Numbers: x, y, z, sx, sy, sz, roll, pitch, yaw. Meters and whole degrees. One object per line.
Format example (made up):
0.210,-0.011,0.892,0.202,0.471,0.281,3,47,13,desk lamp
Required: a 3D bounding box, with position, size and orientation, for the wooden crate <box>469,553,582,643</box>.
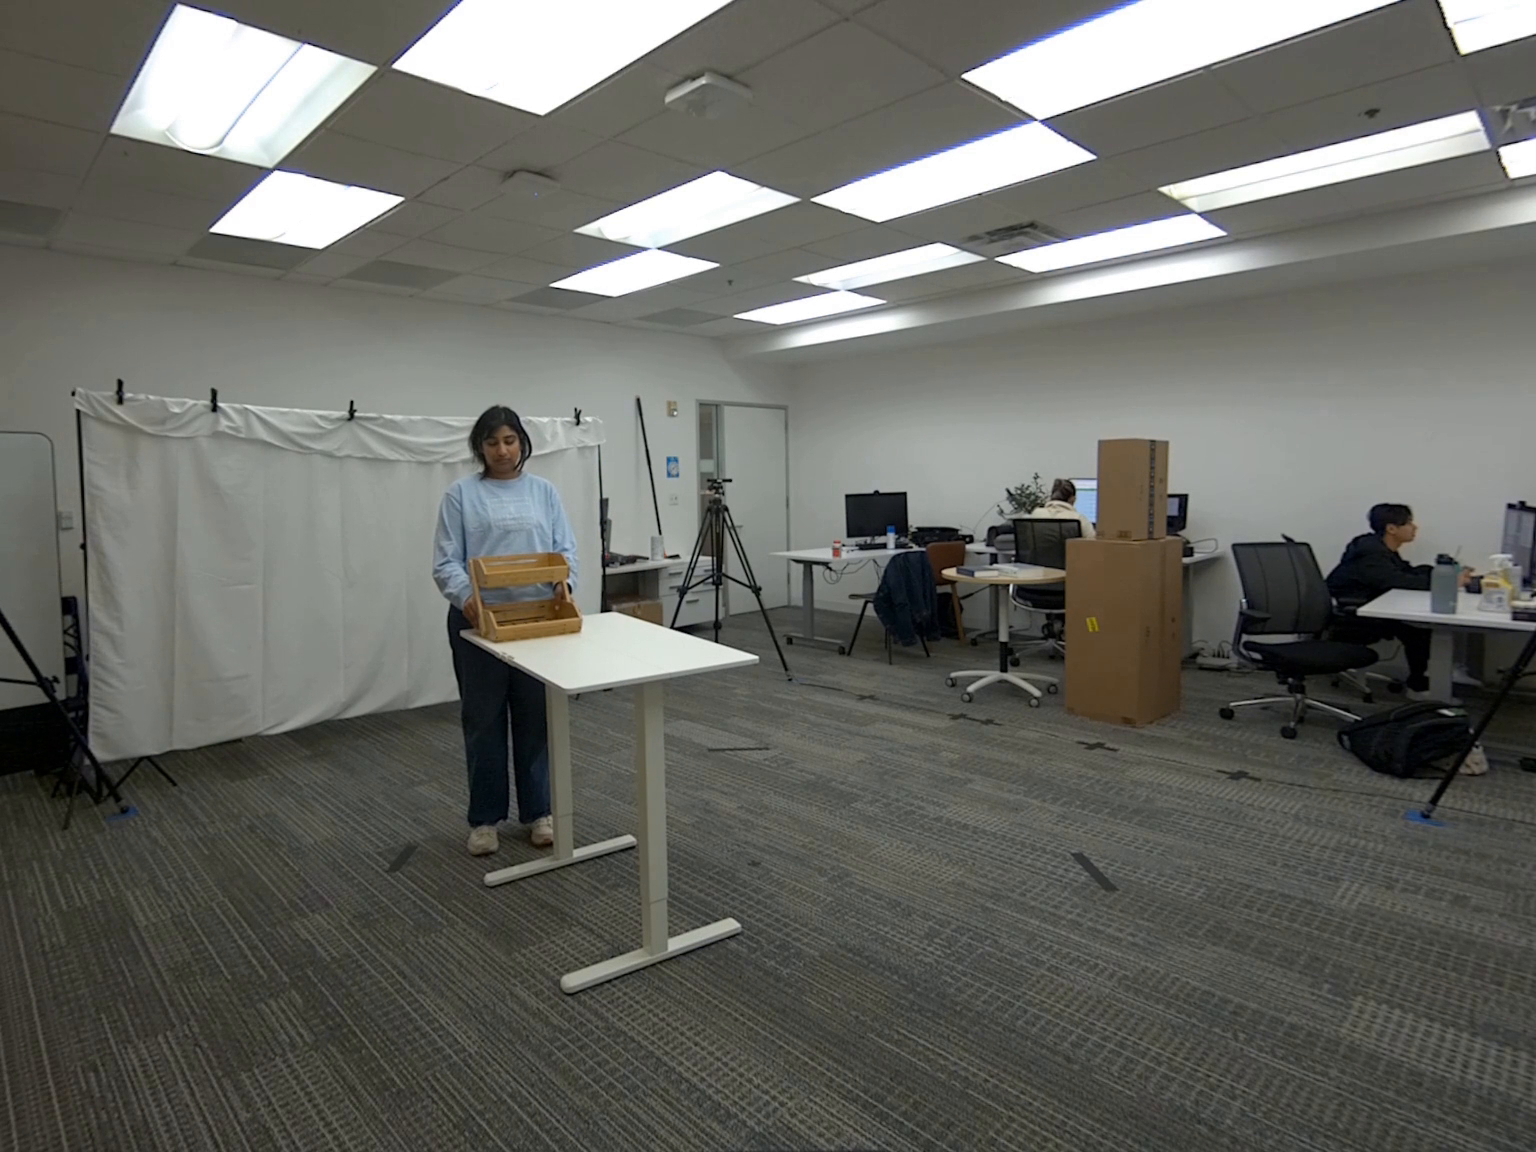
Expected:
-0.842,0.061,2.957,0.317,0.272,0.310,-6,5,-32,wooden crate
